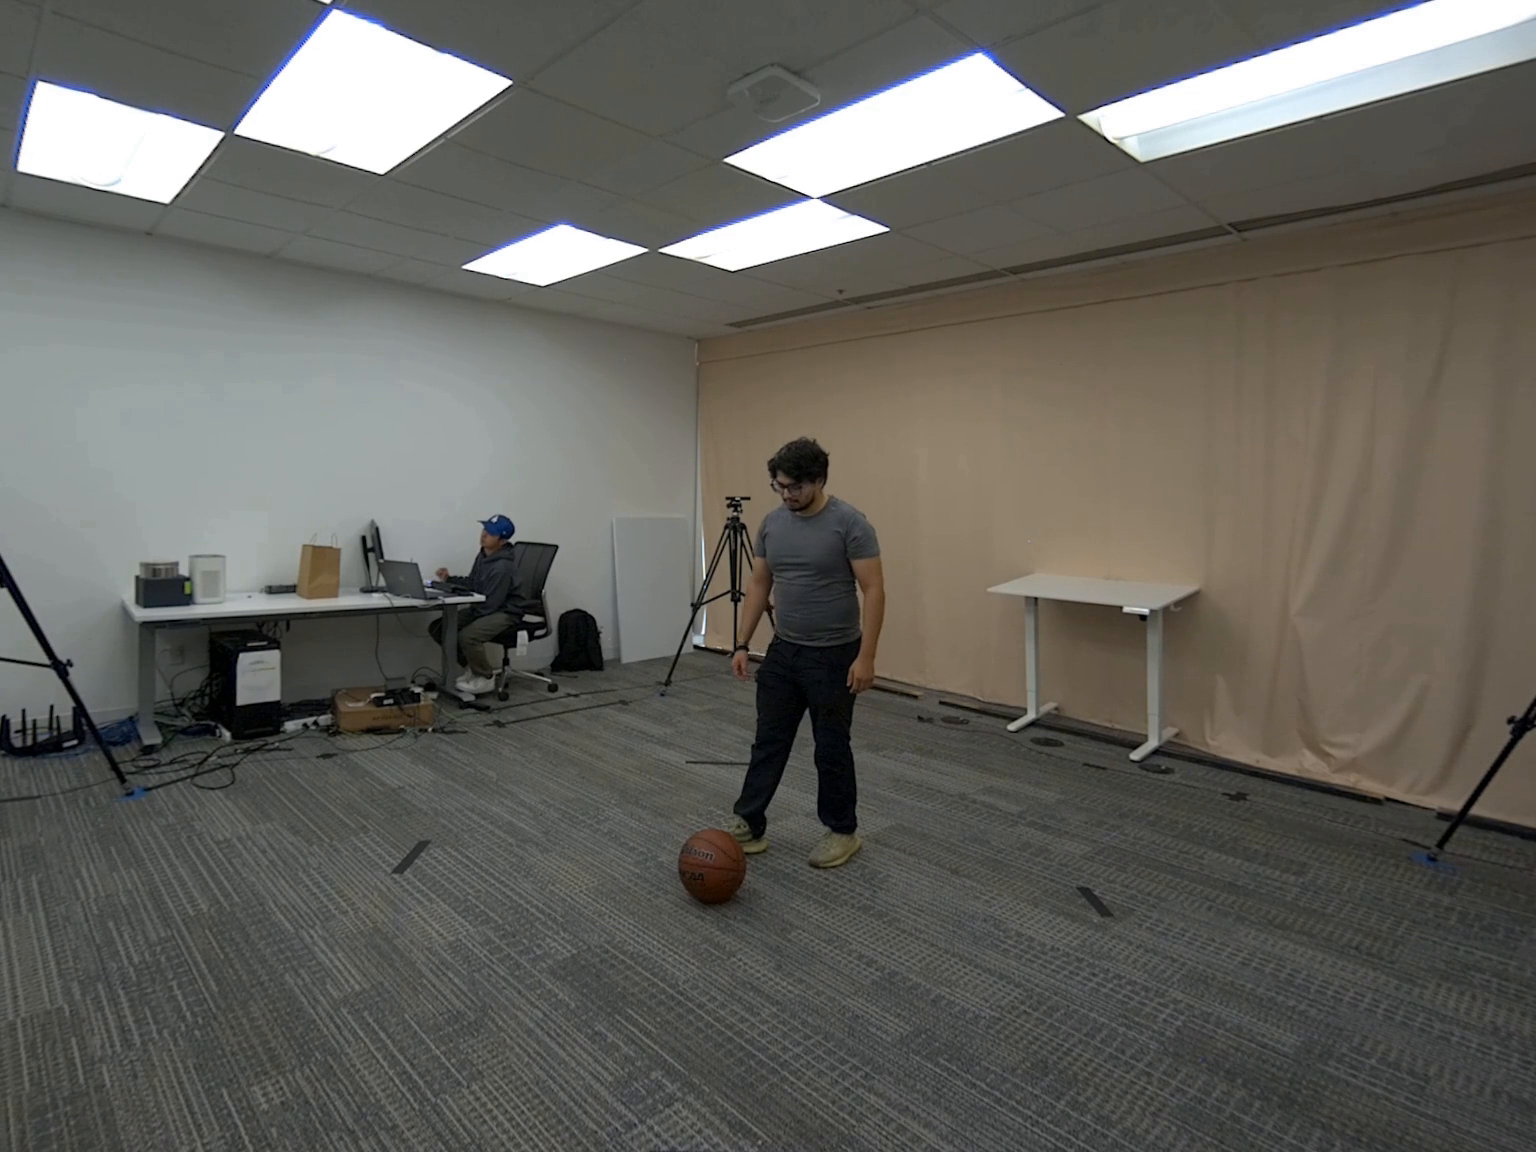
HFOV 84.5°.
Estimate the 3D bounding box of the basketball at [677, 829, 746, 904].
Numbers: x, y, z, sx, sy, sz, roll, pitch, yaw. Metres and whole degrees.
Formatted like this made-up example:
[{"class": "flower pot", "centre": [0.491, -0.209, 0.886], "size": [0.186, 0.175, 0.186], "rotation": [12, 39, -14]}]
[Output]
[{"class": "basketball", "centre": [-0.195, 1.004, 2.918], "size": [0.236, 0.235, 0.237], "rotation": [1, 4, -1]}]
